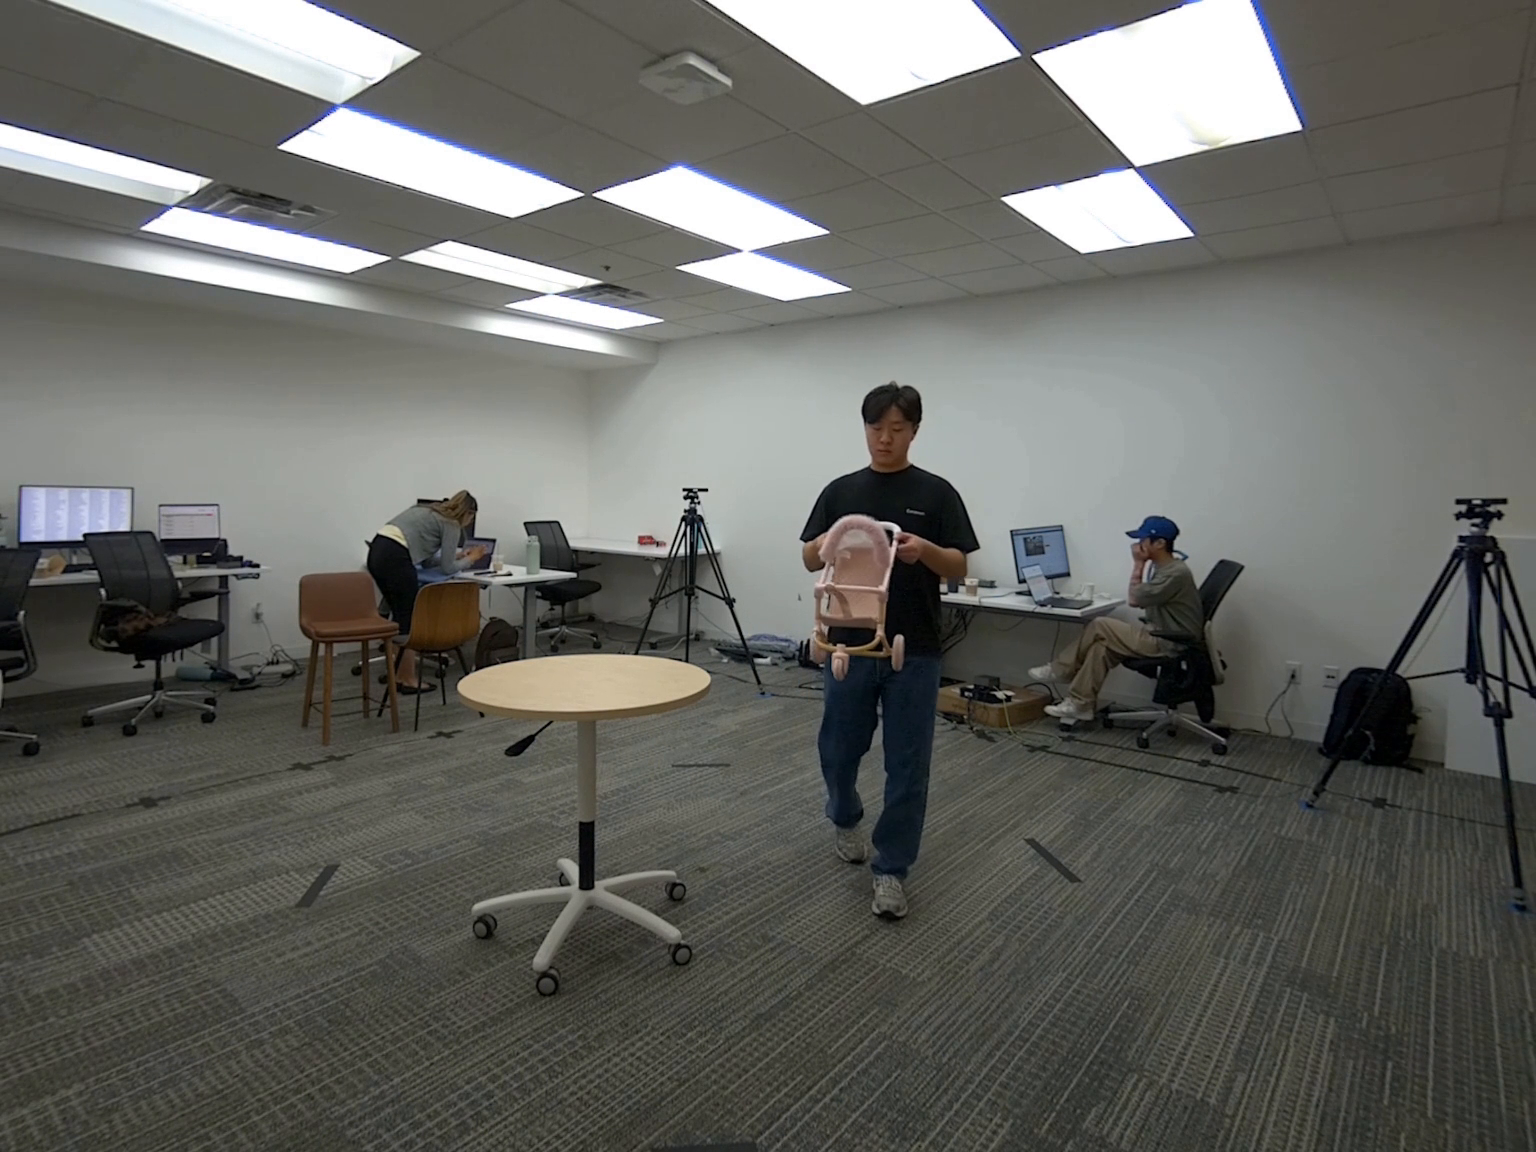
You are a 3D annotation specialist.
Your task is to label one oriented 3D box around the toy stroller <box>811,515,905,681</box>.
[{"bbox_3d":[0.259,0.053,2.580,0.288,0.540,0.330,2,-12,22],"label":"toy stroller"}]
